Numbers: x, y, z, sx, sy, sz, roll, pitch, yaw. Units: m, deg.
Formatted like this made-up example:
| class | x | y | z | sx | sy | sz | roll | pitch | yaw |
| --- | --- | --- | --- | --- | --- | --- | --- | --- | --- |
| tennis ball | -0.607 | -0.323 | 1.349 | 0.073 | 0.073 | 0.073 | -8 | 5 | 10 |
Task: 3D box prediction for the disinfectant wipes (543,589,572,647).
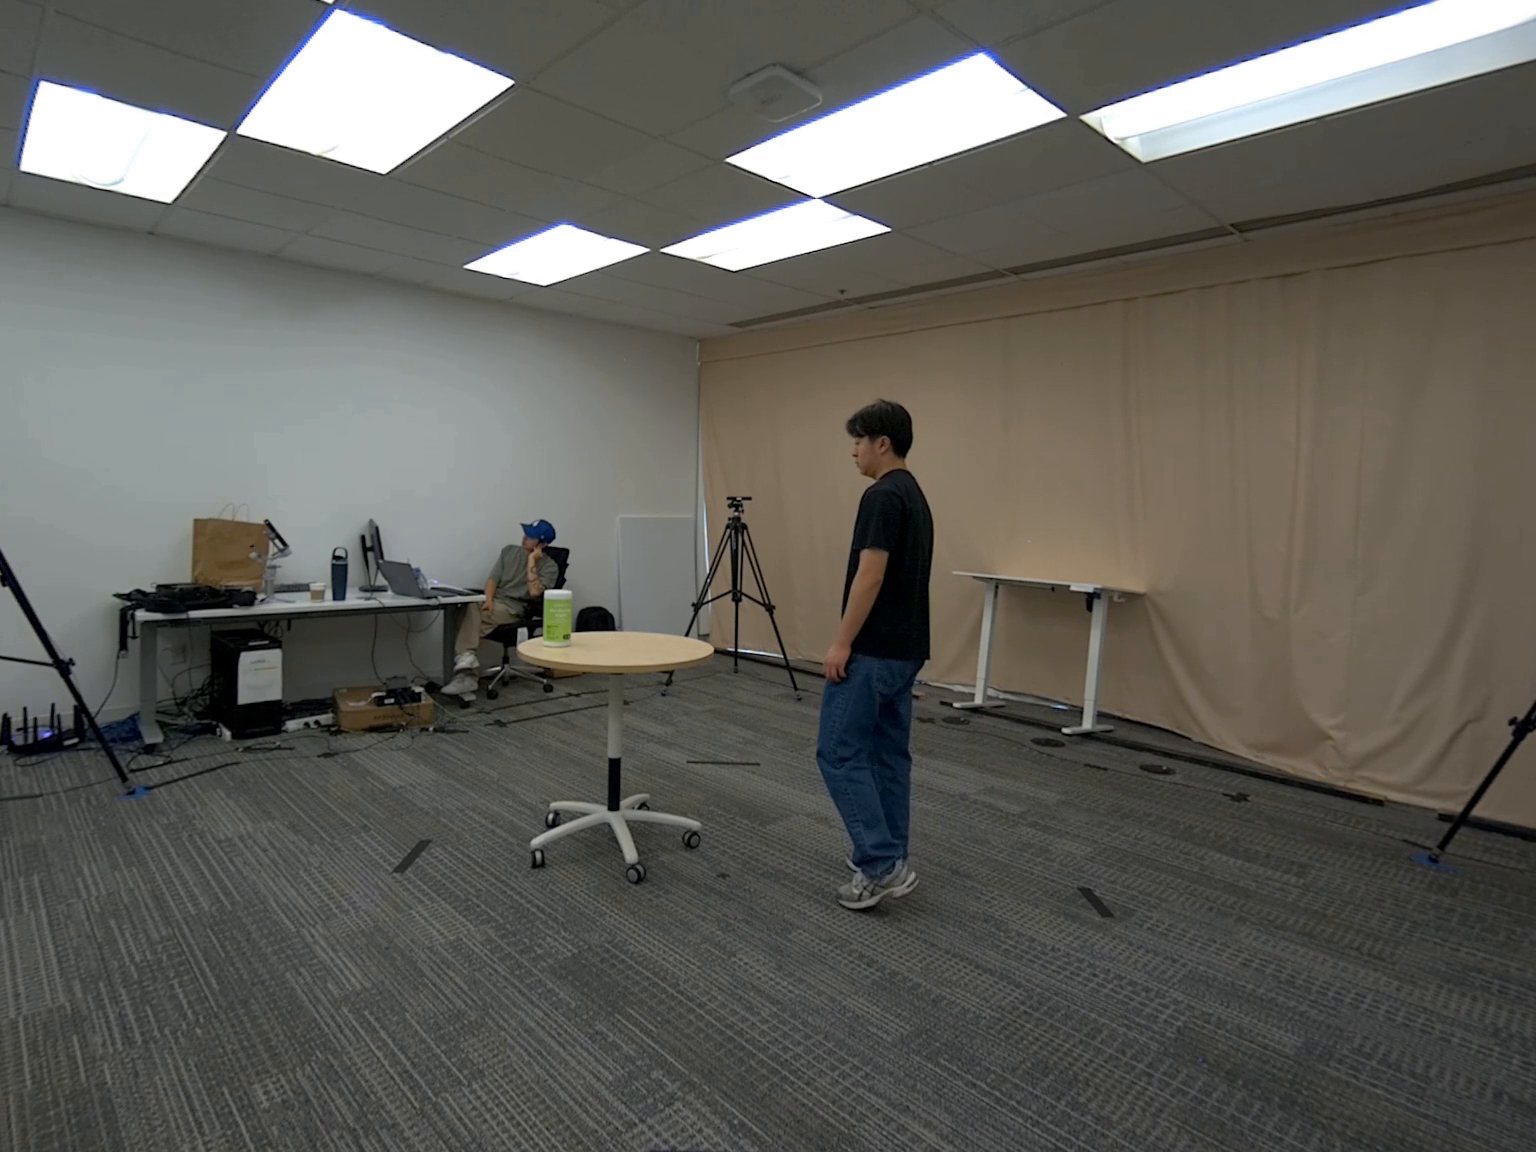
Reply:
| class | x | y | z | sx | sy | sz | roll | pitch | yaw |
| --- | --- | --- | --- | --- | --- | --- | --- | --- | --- |
| disinfectant wipes | -0.828 | 0.172 | 3.311 | 0.118 | 0.217 | 0.118 | 1 | 0 | -1 |
